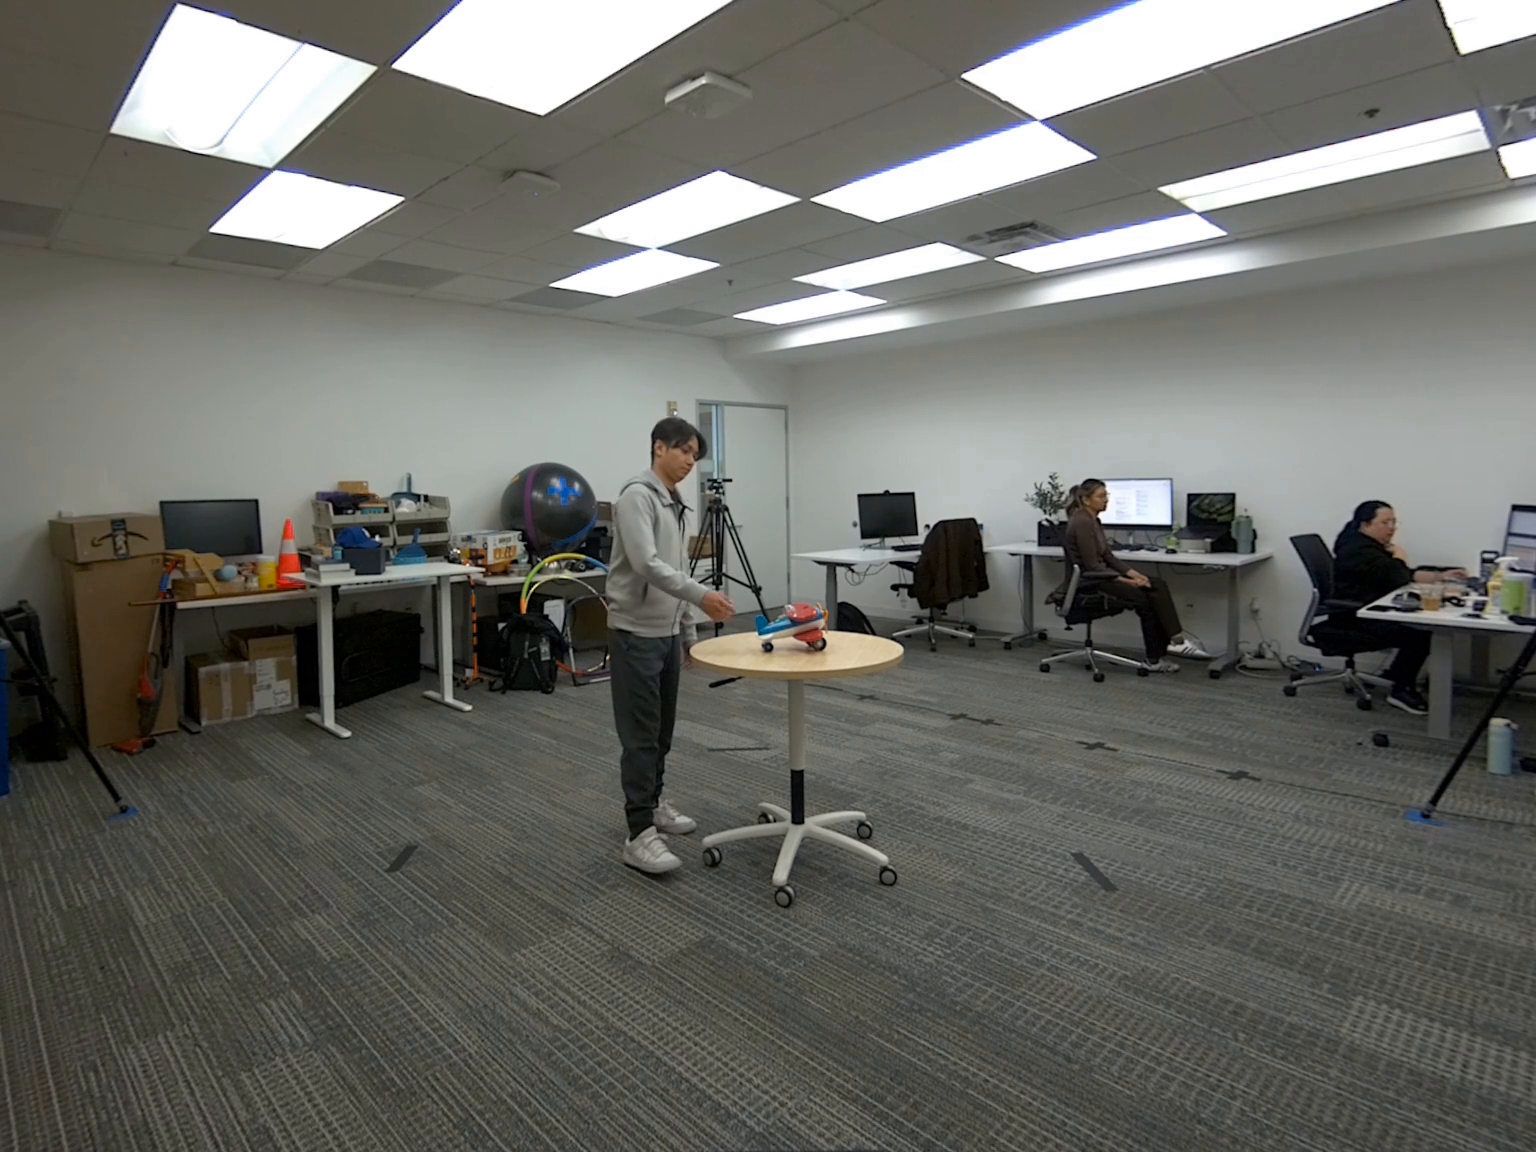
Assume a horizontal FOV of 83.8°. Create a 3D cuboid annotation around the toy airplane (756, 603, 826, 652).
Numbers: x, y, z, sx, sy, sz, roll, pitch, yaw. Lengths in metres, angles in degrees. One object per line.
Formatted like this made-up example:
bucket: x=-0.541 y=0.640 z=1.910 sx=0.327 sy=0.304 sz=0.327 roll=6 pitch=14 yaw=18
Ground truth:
toy airplane: x=0.092 y=0.188 z=3.034 sx=0.252 sy=0.155 sz=0.259 roll=-5 pitch=8 yaw=-37
